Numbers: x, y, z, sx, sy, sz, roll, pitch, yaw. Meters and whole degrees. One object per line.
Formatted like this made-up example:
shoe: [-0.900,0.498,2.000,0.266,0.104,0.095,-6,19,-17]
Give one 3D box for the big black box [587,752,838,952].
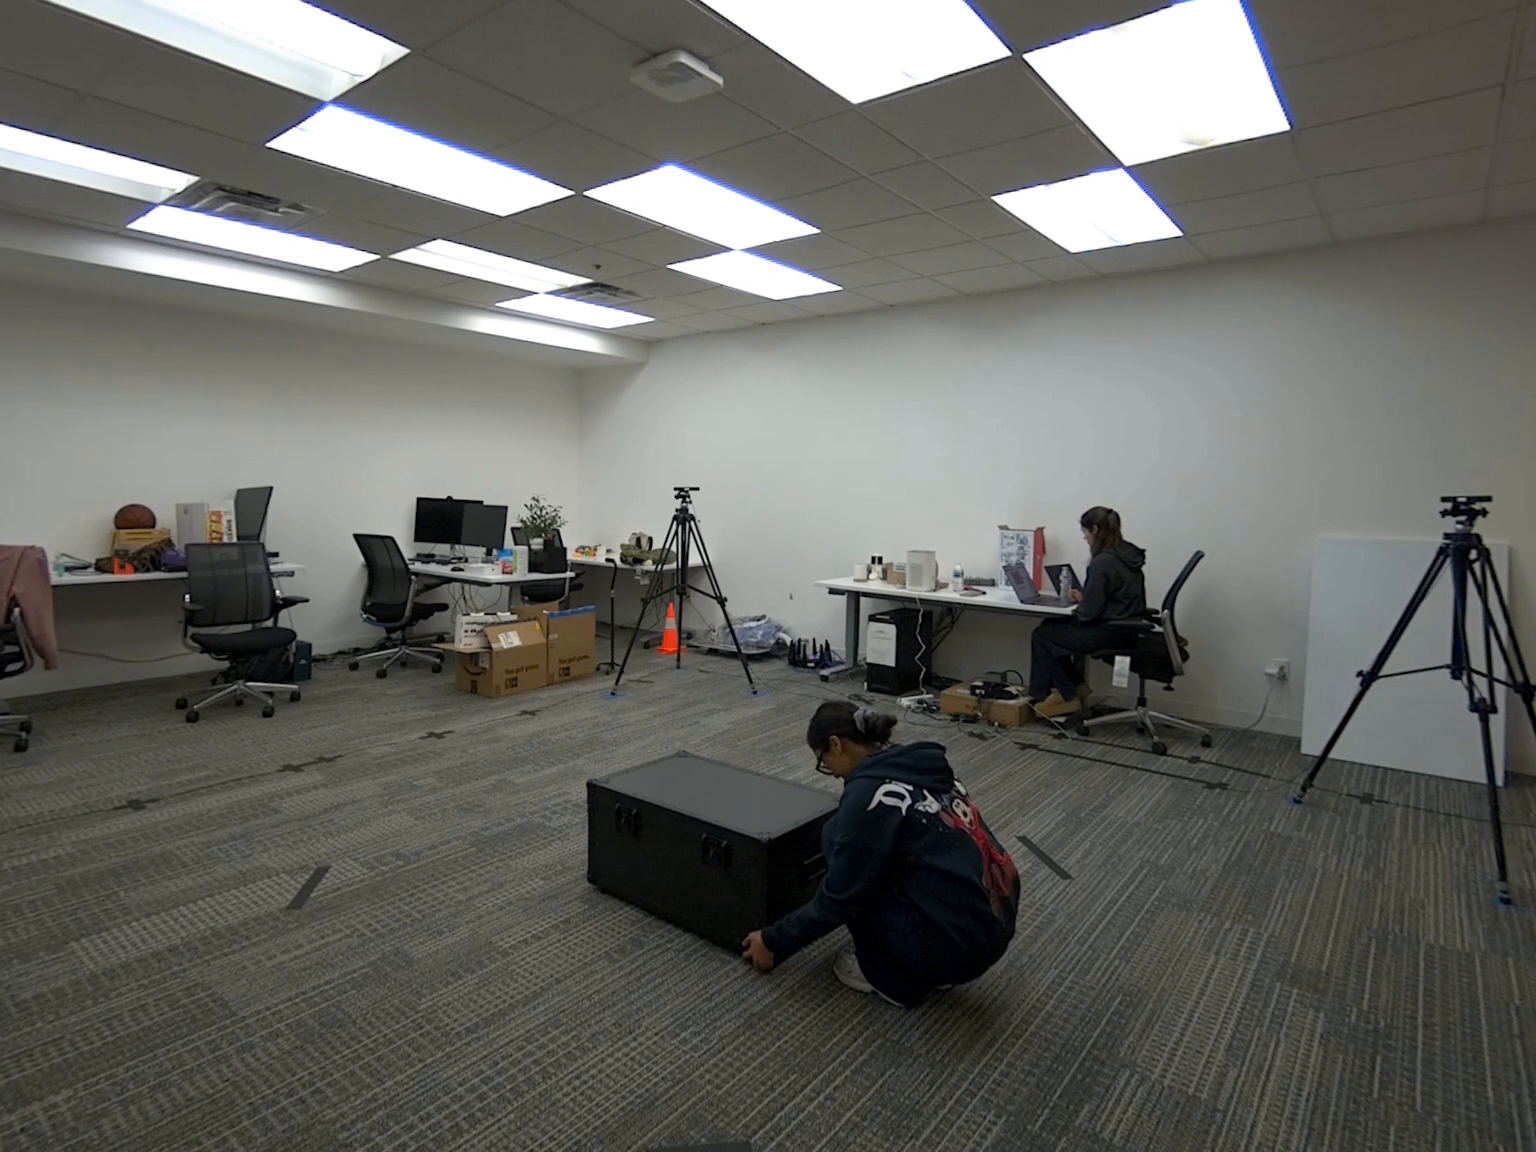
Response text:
big black box: [-0.204,0.893,2.884,0.890,0.395,0.506,5,5,39]
